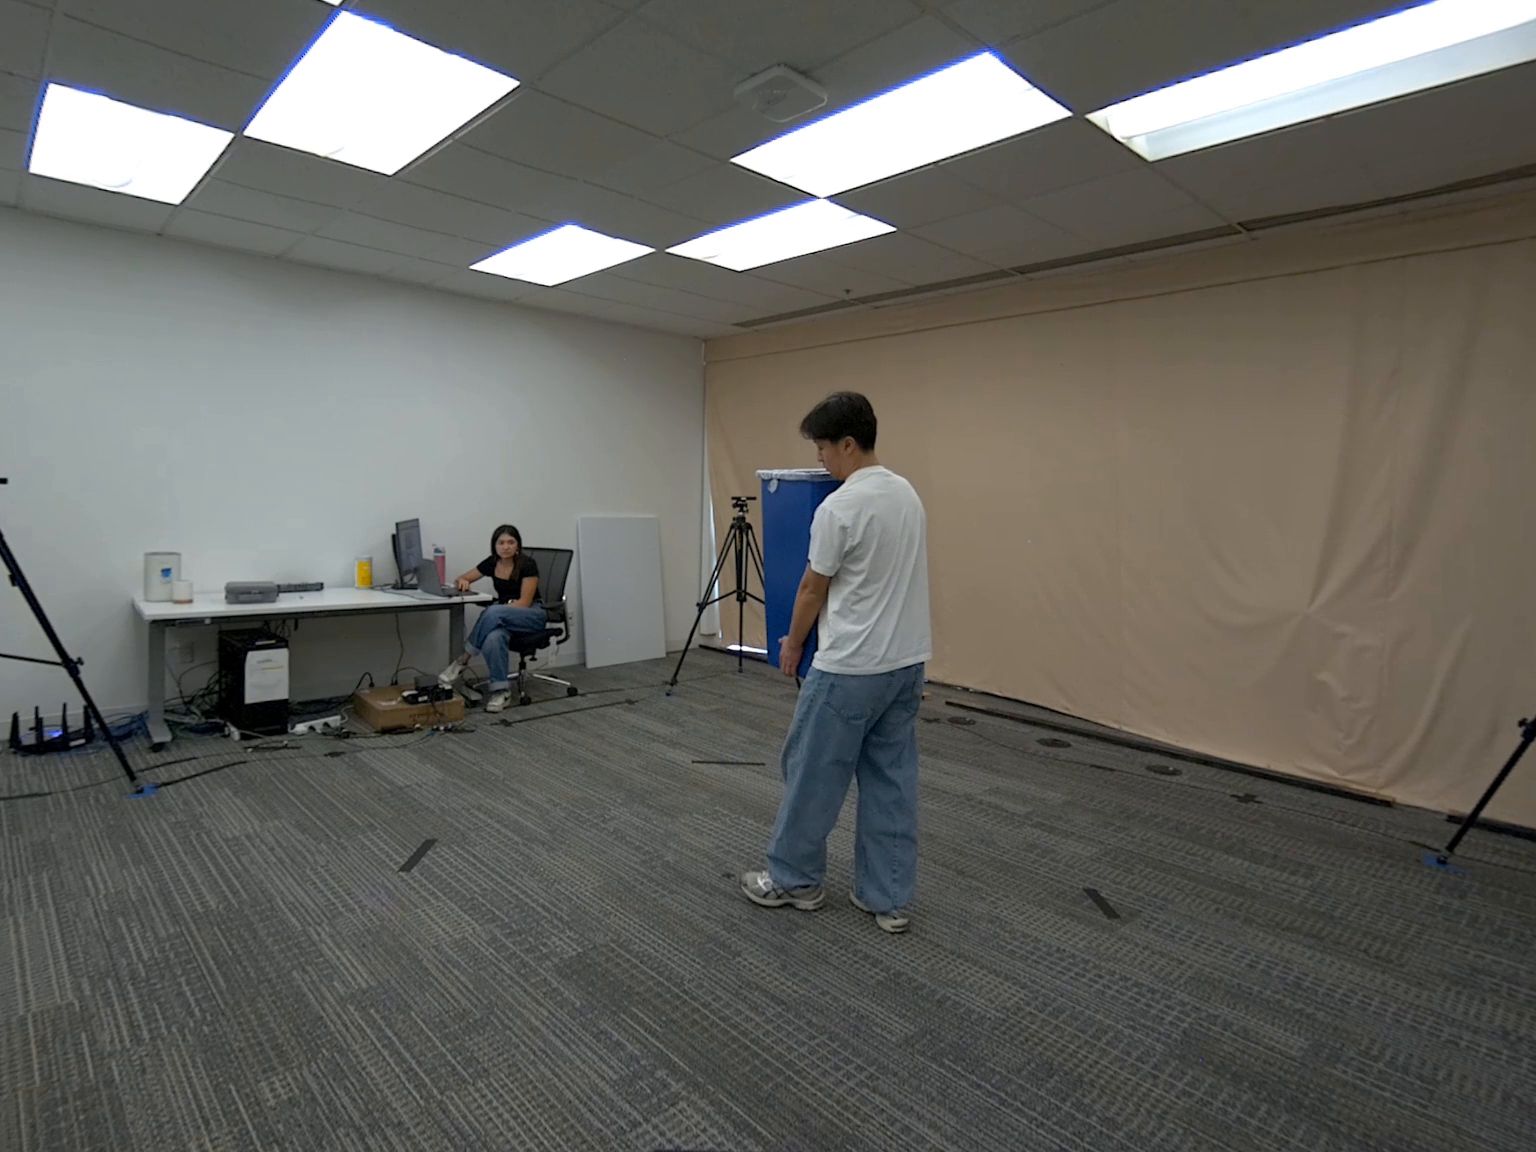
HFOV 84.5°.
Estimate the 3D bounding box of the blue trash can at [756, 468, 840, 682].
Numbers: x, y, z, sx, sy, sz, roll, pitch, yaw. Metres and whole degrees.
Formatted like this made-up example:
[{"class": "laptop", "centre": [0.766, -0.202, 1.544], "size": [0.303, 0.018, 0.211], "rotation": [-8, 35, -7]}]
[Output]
[{"class": "blue trash can", "centre": [0.179, -0.024, 3.044], "size": [0.367, 0.709, 0.387], "rotation": [-4, 9, -31]}]
